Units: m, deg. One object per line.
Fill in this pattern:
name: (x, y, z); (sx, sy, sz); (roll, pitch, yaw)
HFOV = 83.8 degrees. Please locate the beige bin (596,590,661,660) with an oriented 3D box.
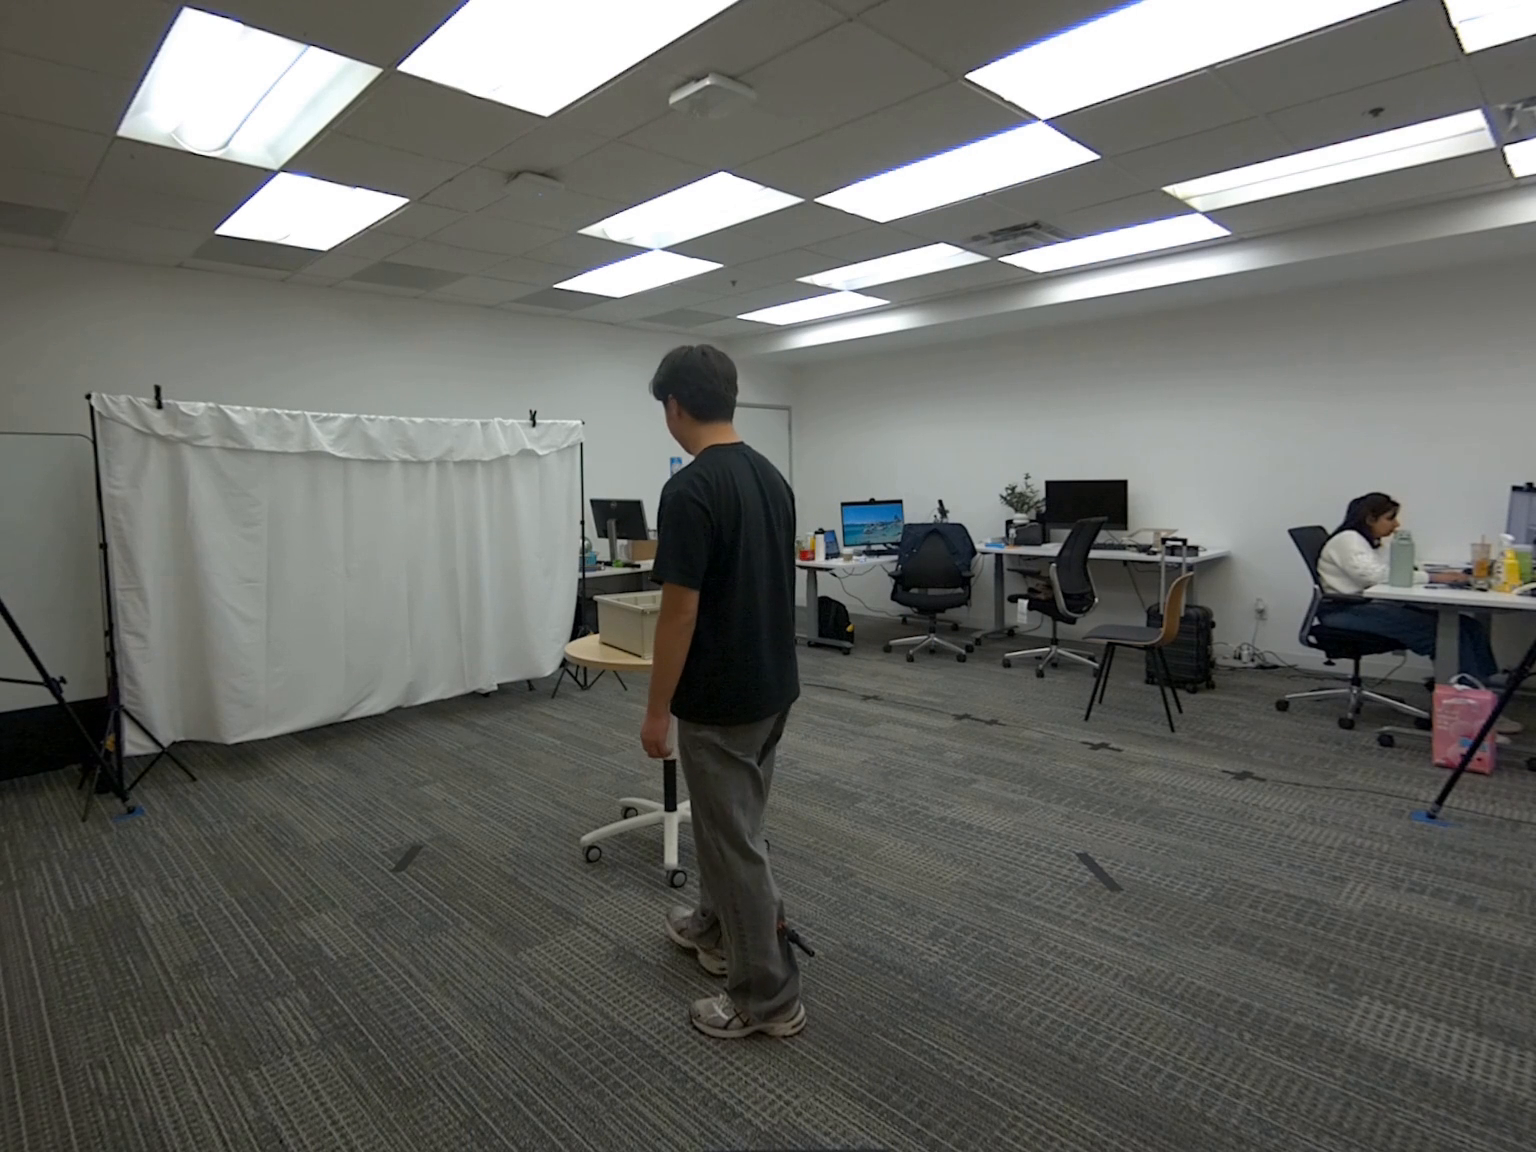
beige bin: (-0.390, 0.173, 3.188); (0.368, 0.188, 0.435); (-6, 8, -34)
